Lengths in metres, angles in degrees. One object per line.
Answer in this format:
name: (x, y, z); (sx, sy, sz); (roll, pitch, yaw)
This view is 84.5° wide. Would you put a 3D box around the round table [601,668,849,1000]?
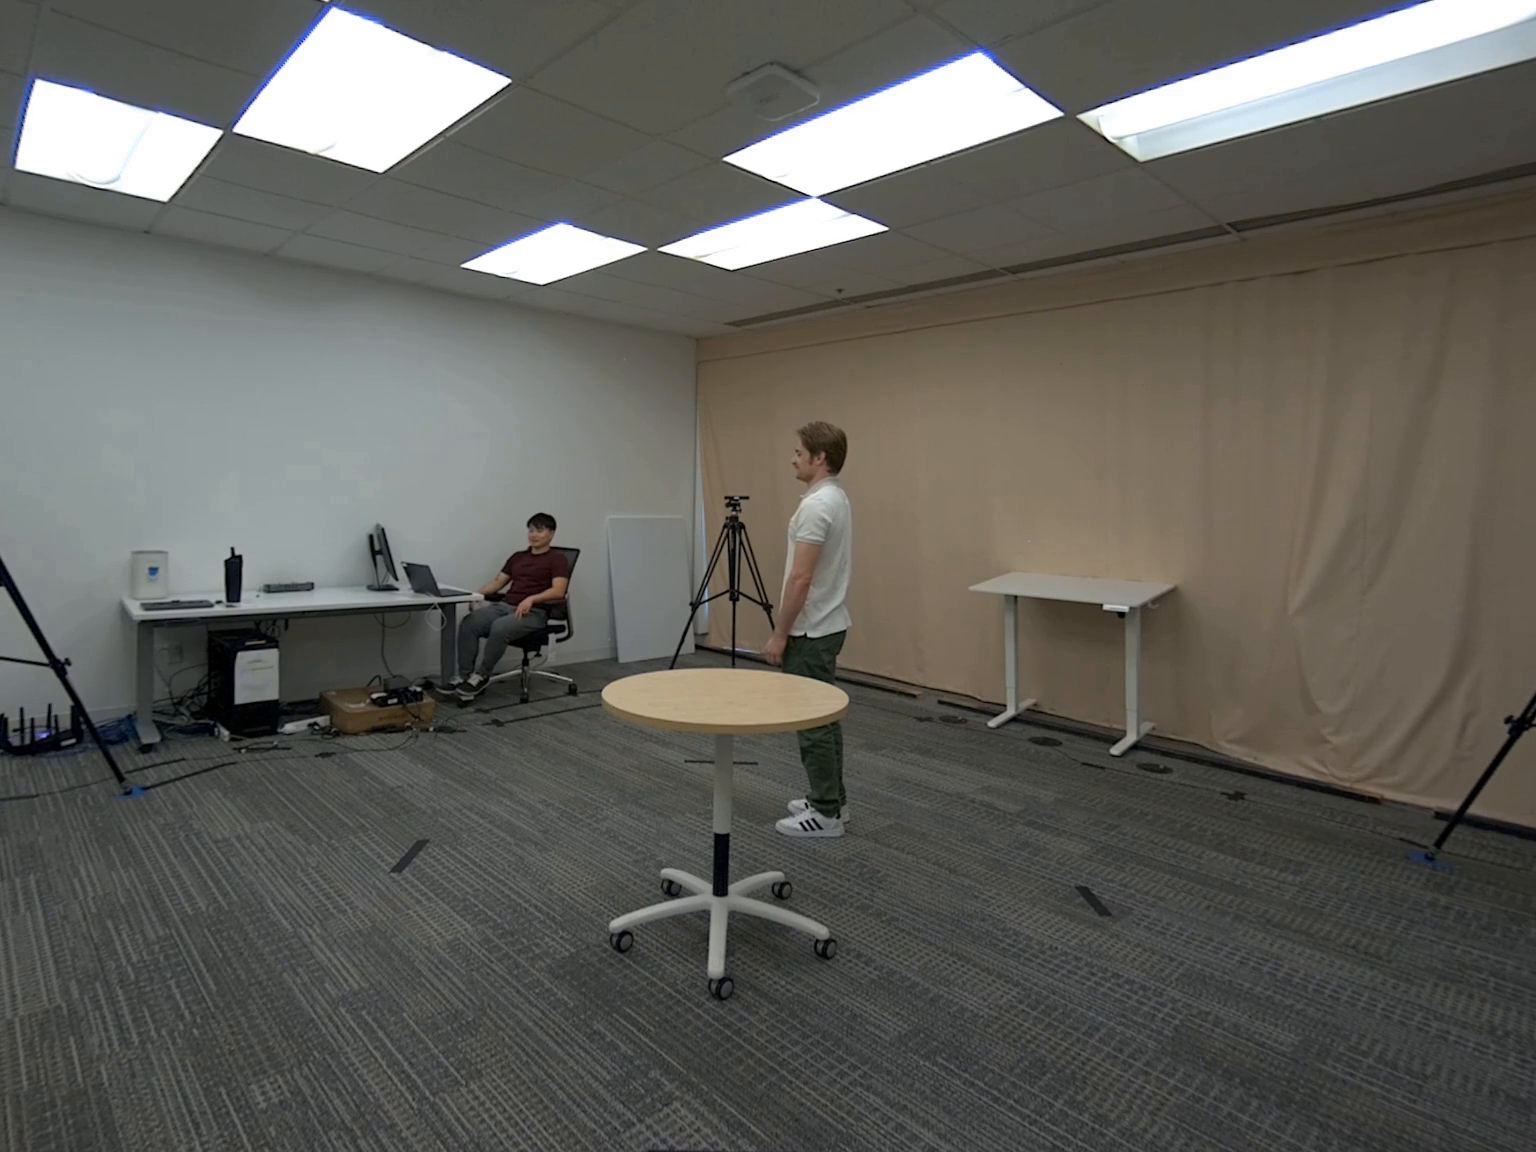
round table: (-0.150, 0.757, 2.652); (0.763, 0.792, 0.766); (1, 4, -1)
